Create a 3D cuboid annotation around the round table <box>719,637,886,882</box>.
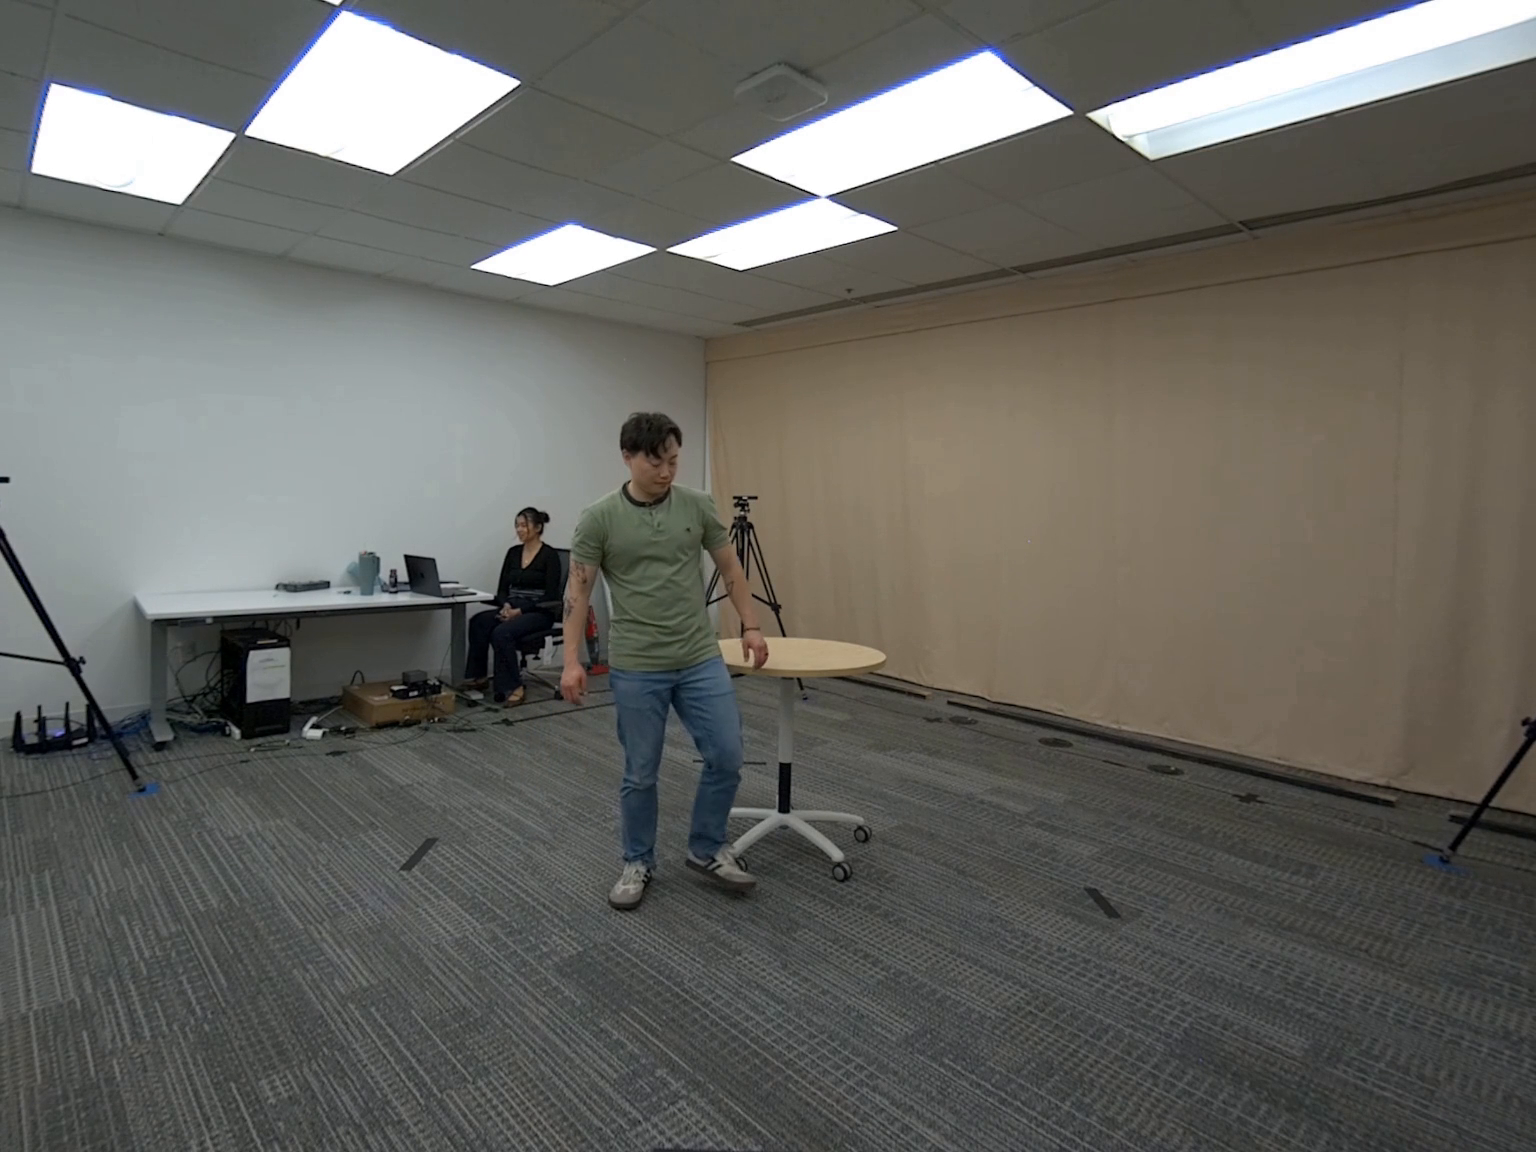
[{"bbox_3d":[0.065,0.696,3.353,0.763,0.792,0.766,2,3,-1],"label":"round table"}]
